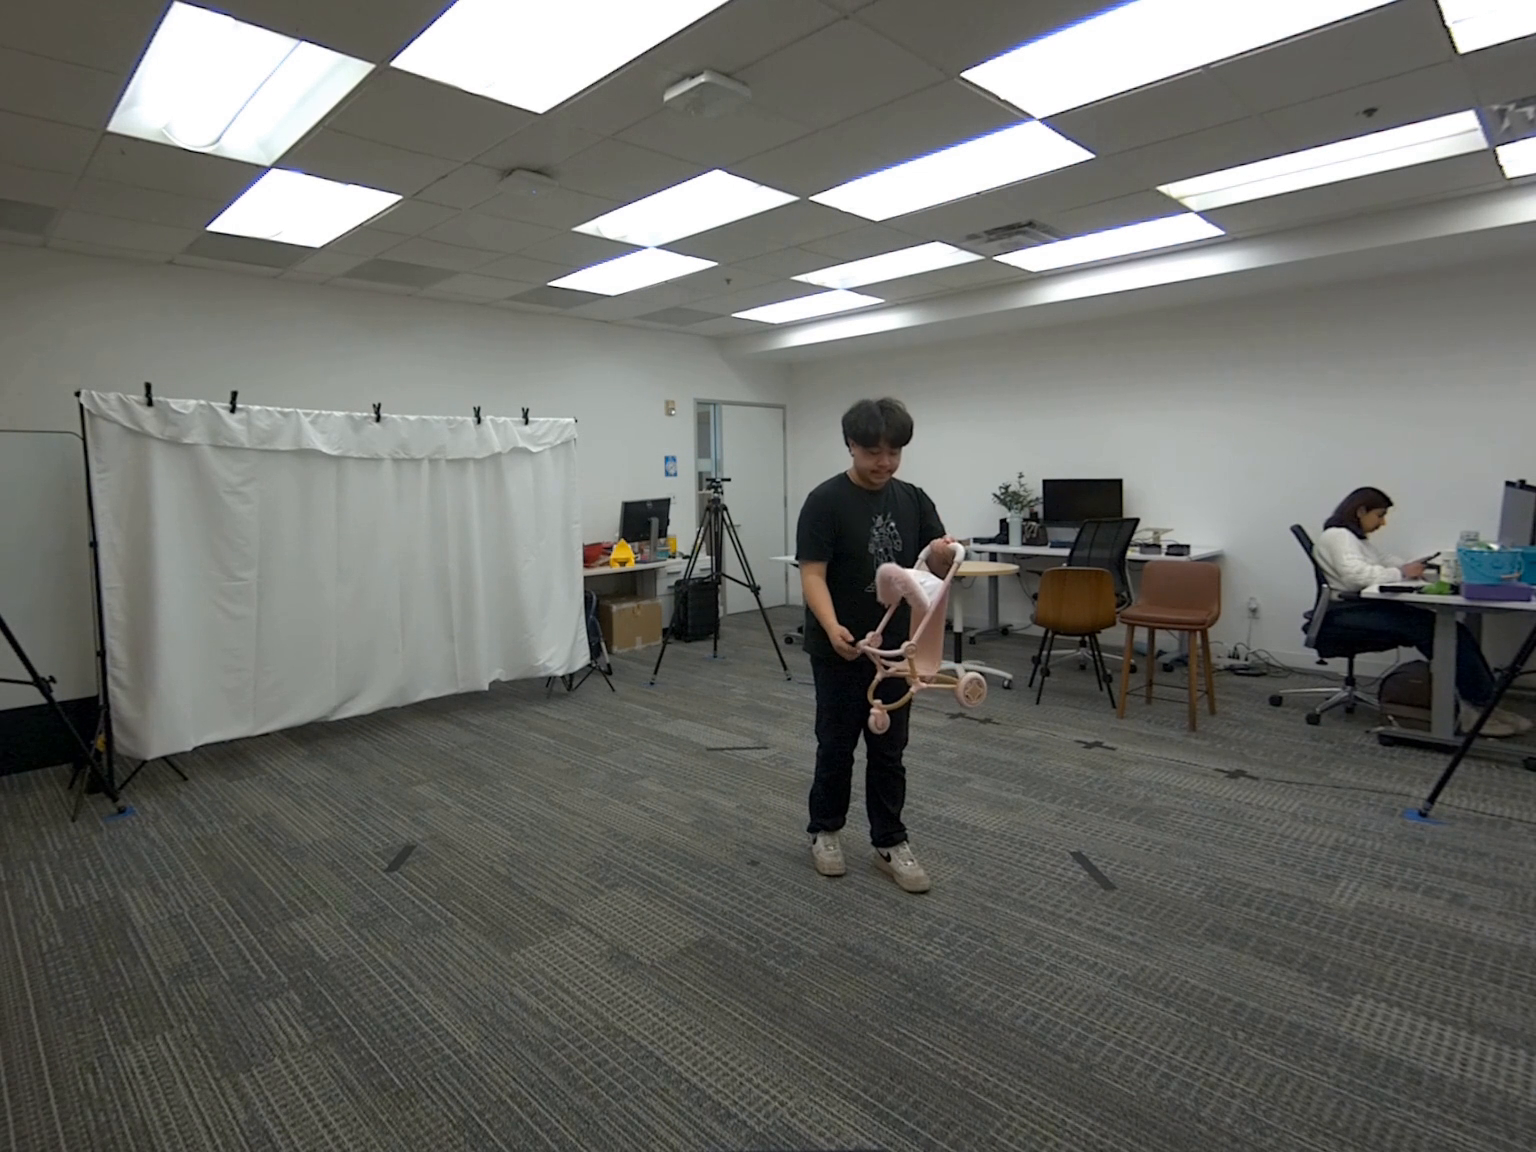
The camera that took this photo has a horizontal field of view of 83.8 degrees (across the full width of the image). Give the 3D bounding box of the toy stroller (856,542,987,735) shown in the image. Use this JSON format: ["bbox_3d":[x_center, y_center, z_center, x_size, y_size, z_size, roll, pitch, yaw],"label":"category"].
[{"bbox_3d":[0.428,0.192,2.585,0.336,0.531,0.287,-8,8,-18],"label":"toy stroller"}]
